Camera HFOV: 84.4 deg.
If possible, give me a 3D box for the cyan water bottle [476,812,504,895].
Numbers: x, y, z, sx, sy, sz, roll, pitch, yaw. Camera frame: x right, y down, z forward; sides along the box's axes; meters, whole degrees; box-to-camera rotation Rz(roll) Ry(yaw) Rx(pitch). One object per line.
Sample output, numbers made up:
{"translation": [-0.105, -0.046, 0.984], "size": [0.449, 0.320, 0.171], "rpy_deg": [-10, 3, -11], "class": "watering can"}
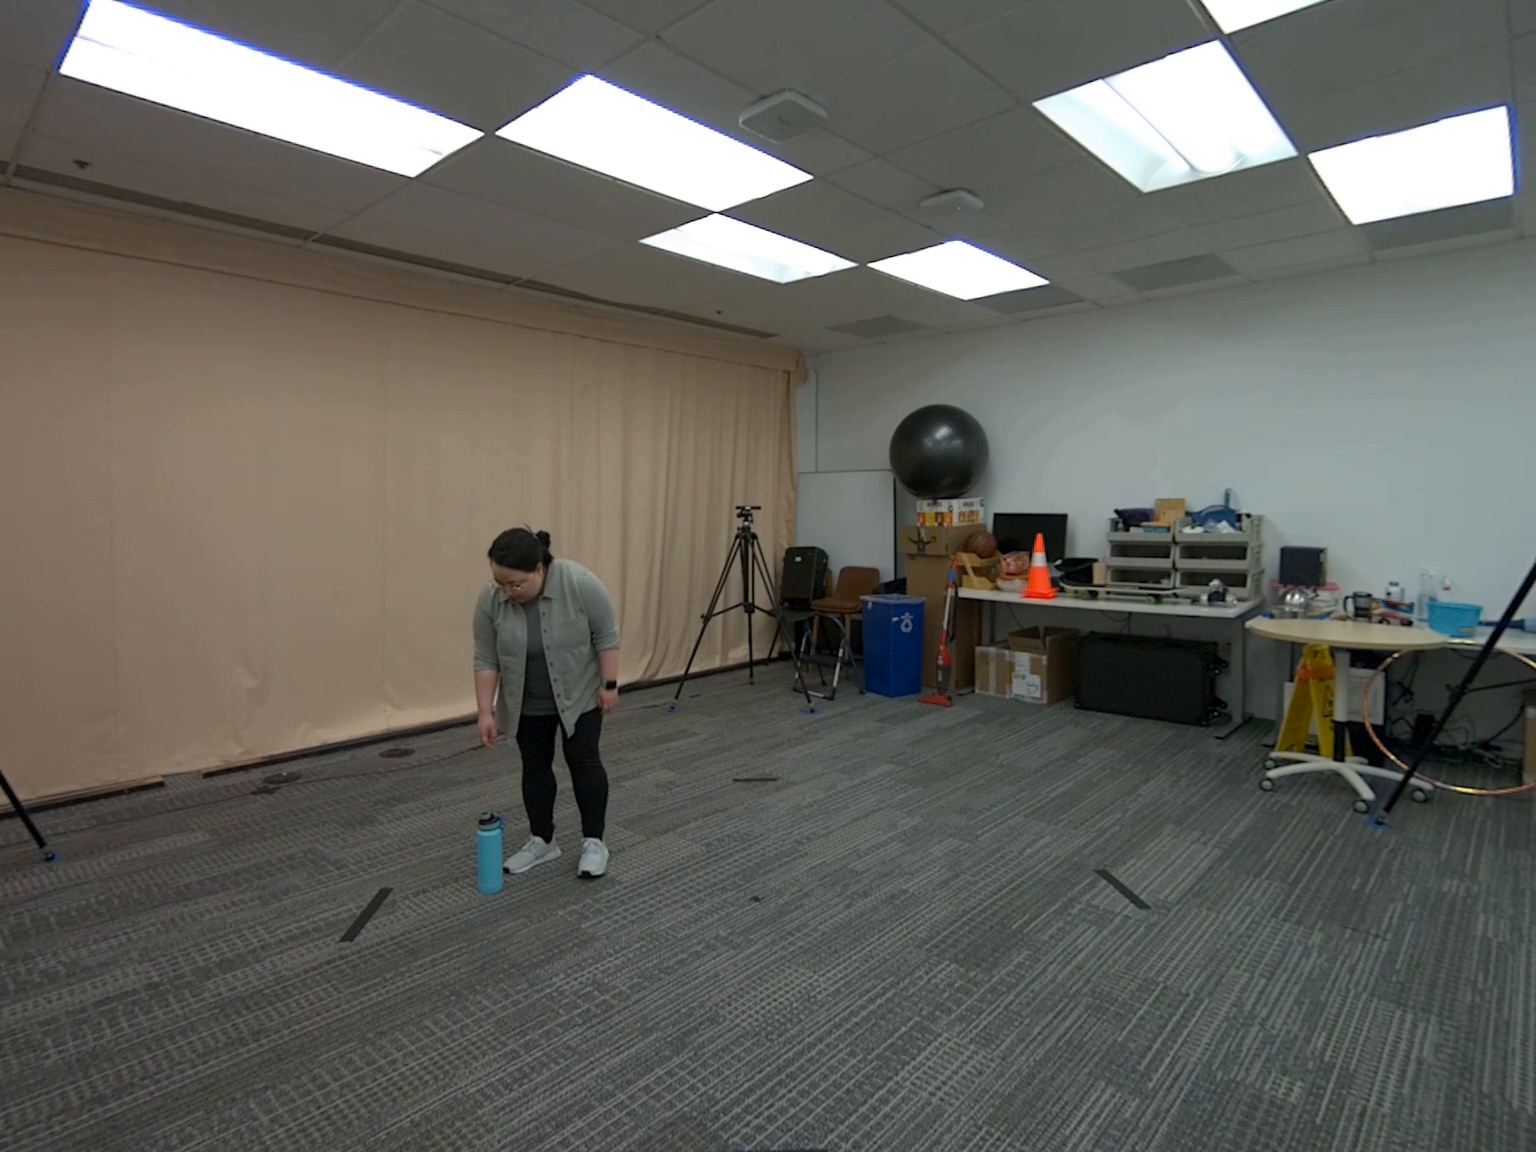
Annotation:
{"translation": [-1.020, 1.002, 3.082], "size": [0.092, 0.283, 0.092], "rpy_deg": [-1, 1, -2], "class": "cyan water bottle"}
